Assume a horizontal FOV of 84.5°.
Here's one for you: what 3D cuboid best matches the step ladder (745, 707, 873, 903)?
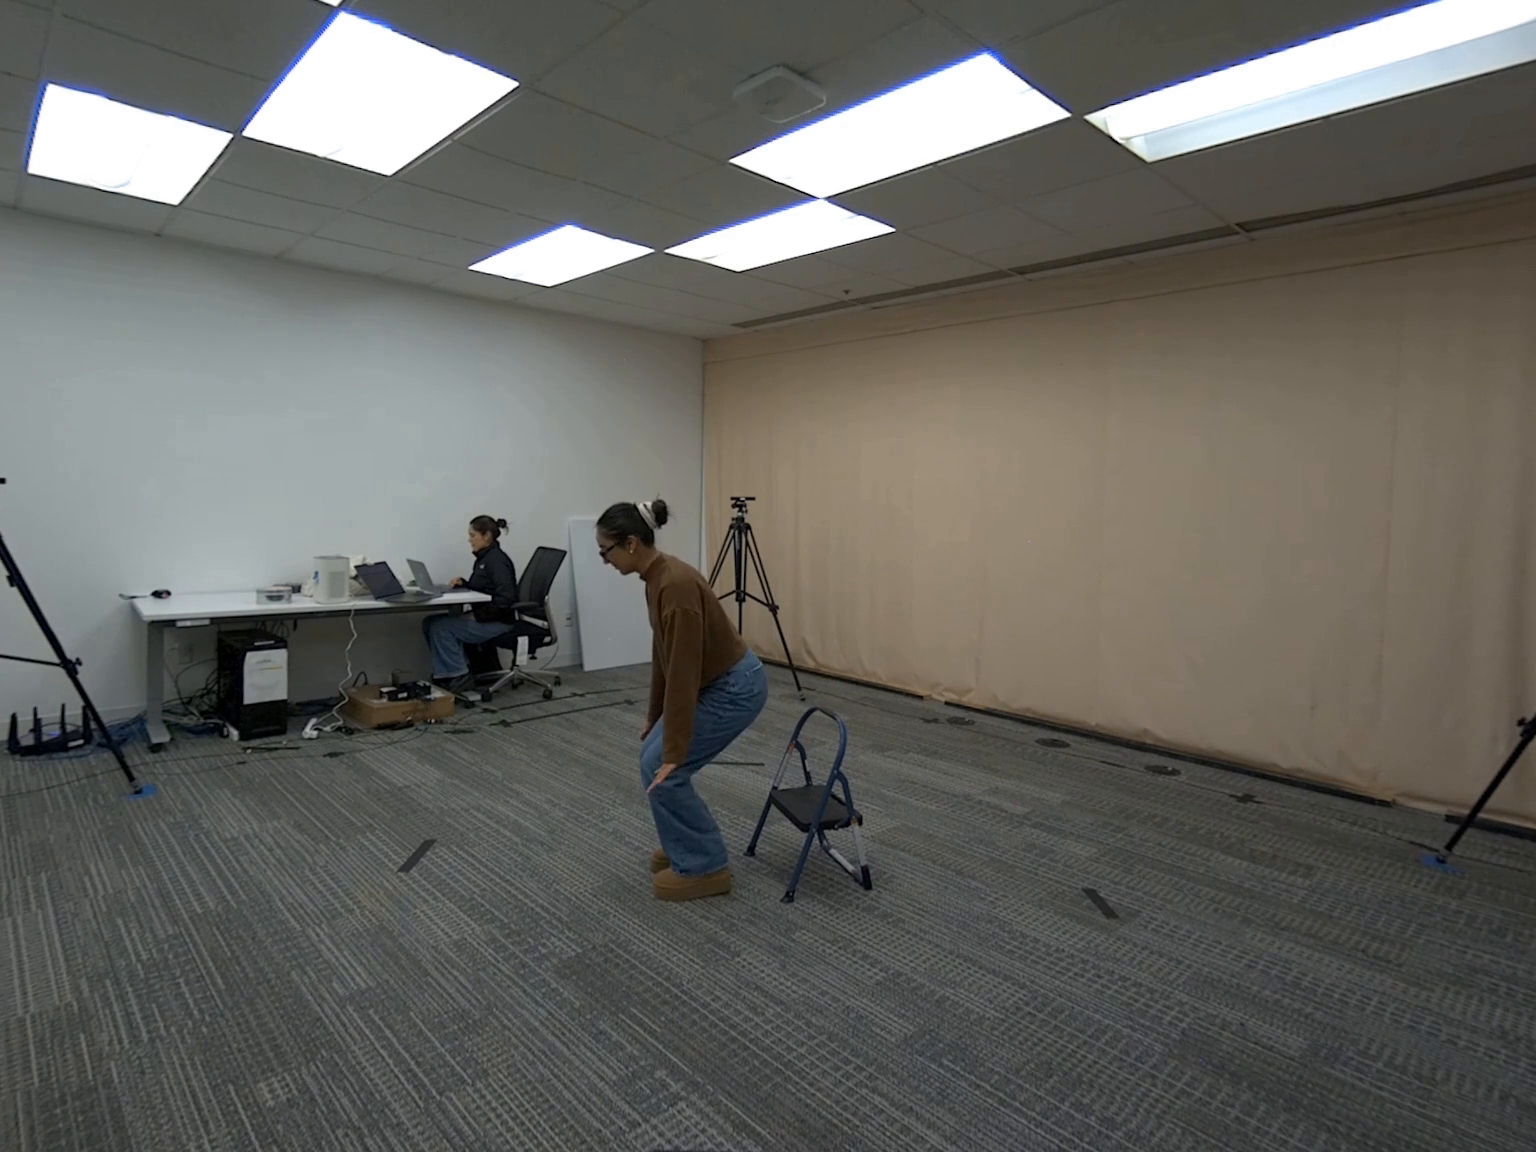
[{"bbox_3d":[0.142,0.811,3.138,0.344,0.604,0.438,0,4,-20],"label":"step ladder"}]
